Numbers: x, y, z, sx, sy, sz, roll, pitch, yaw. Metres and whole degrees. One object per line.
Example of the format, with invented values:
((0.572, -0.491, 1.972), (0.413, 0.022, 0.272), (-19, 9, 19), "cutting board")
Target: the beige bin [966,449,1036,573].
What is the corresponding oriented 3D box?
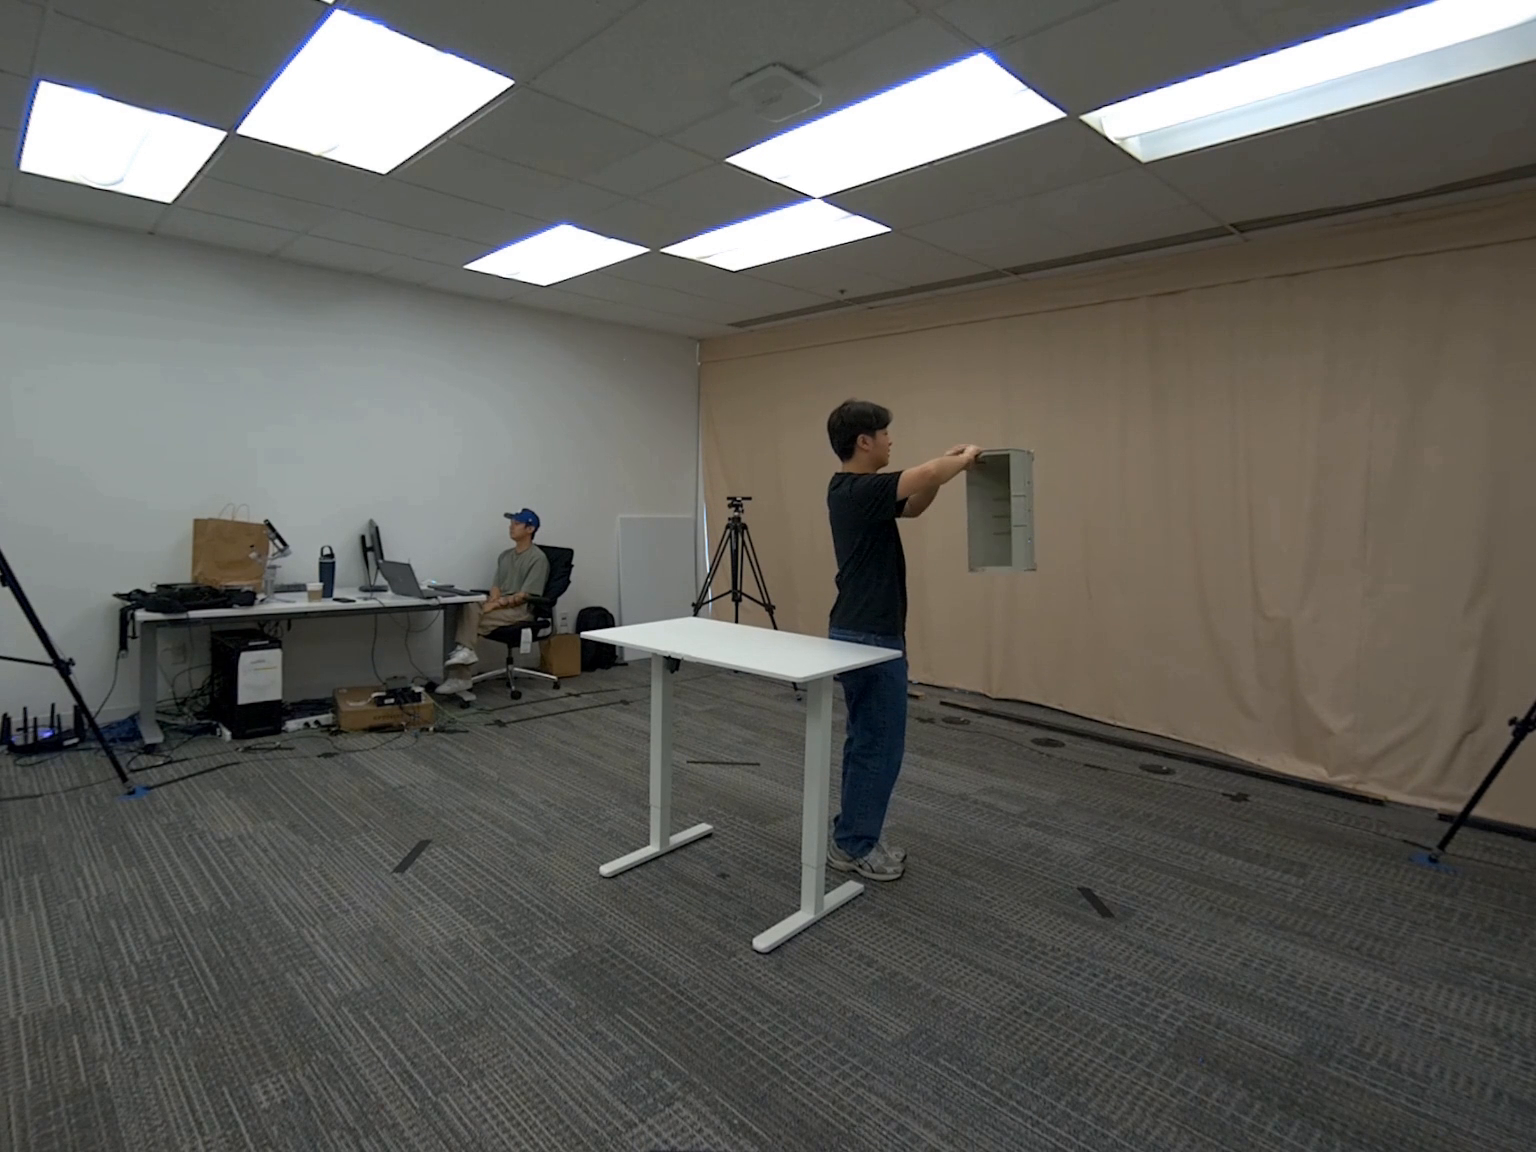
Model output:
((0.824, -0.225, 3.013), (0.190, 0.423, 0.374), (-2, -1, 7), "beige bin")
